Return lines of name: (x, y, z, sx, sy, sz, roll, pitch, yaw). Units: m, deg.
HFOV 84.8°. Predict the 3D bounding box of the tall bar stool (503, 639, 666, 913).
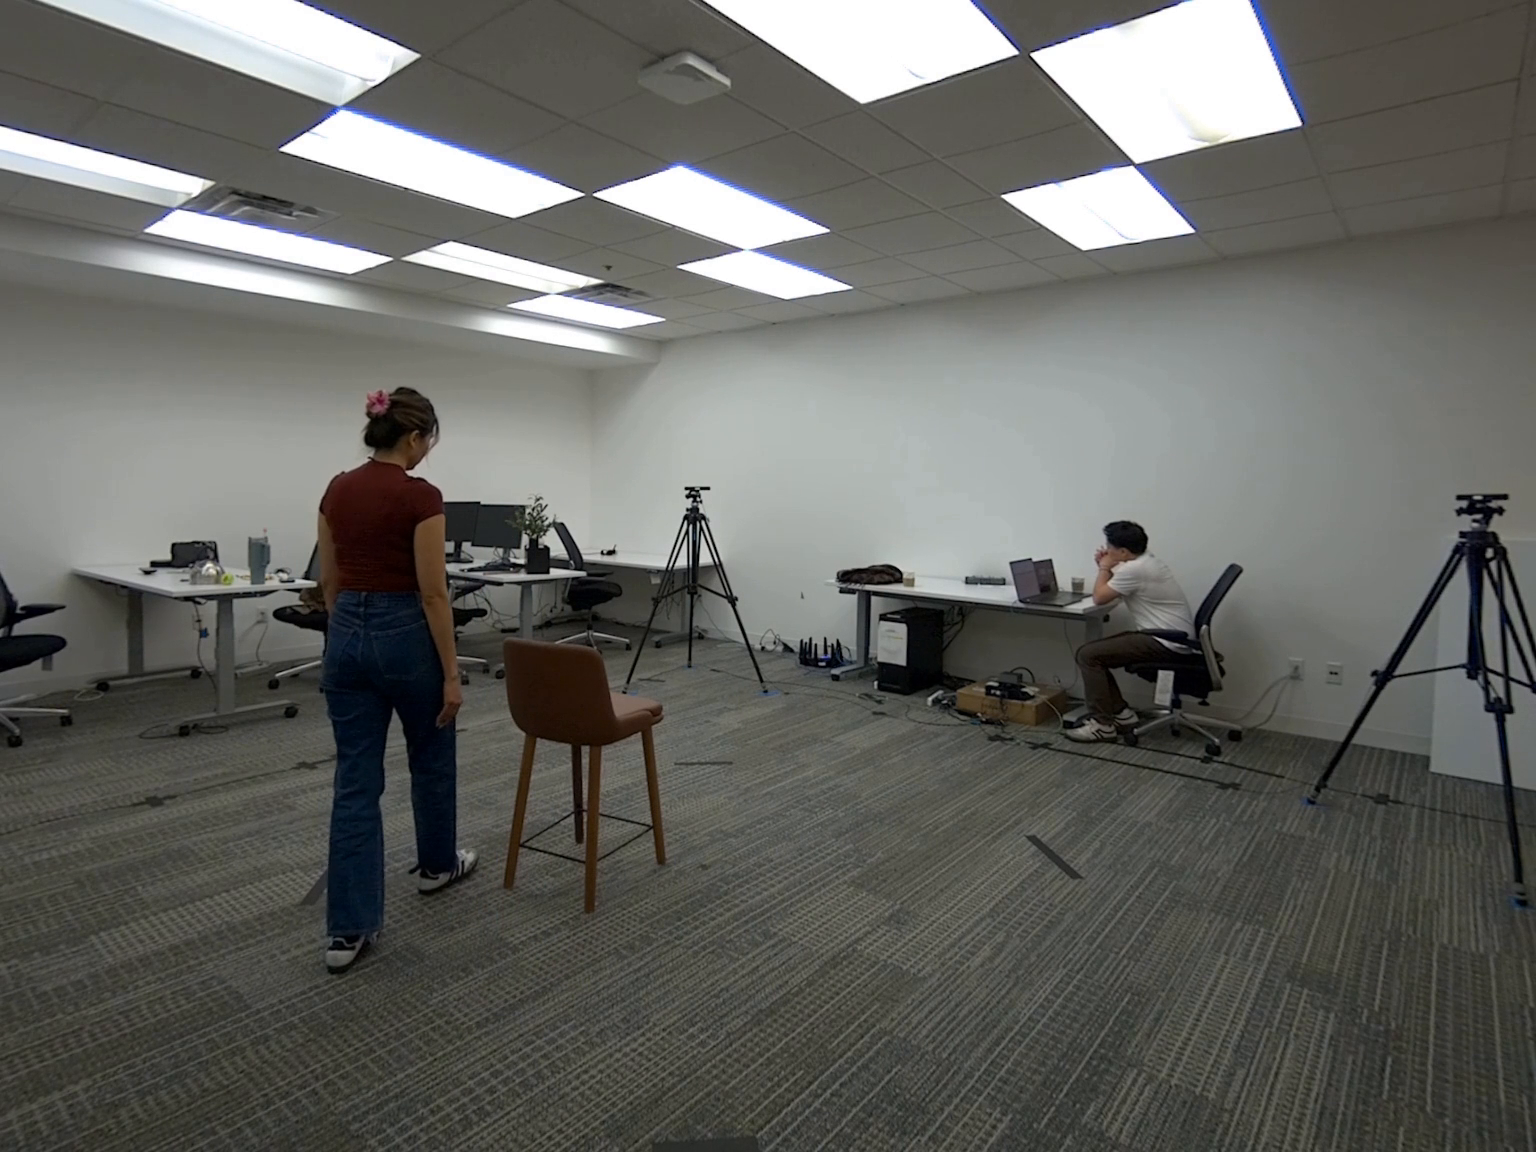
tall bar stool: (-0.666, 0.632, 3.021, 0.469, 0.886, 0.457, 2, 5, 27)
